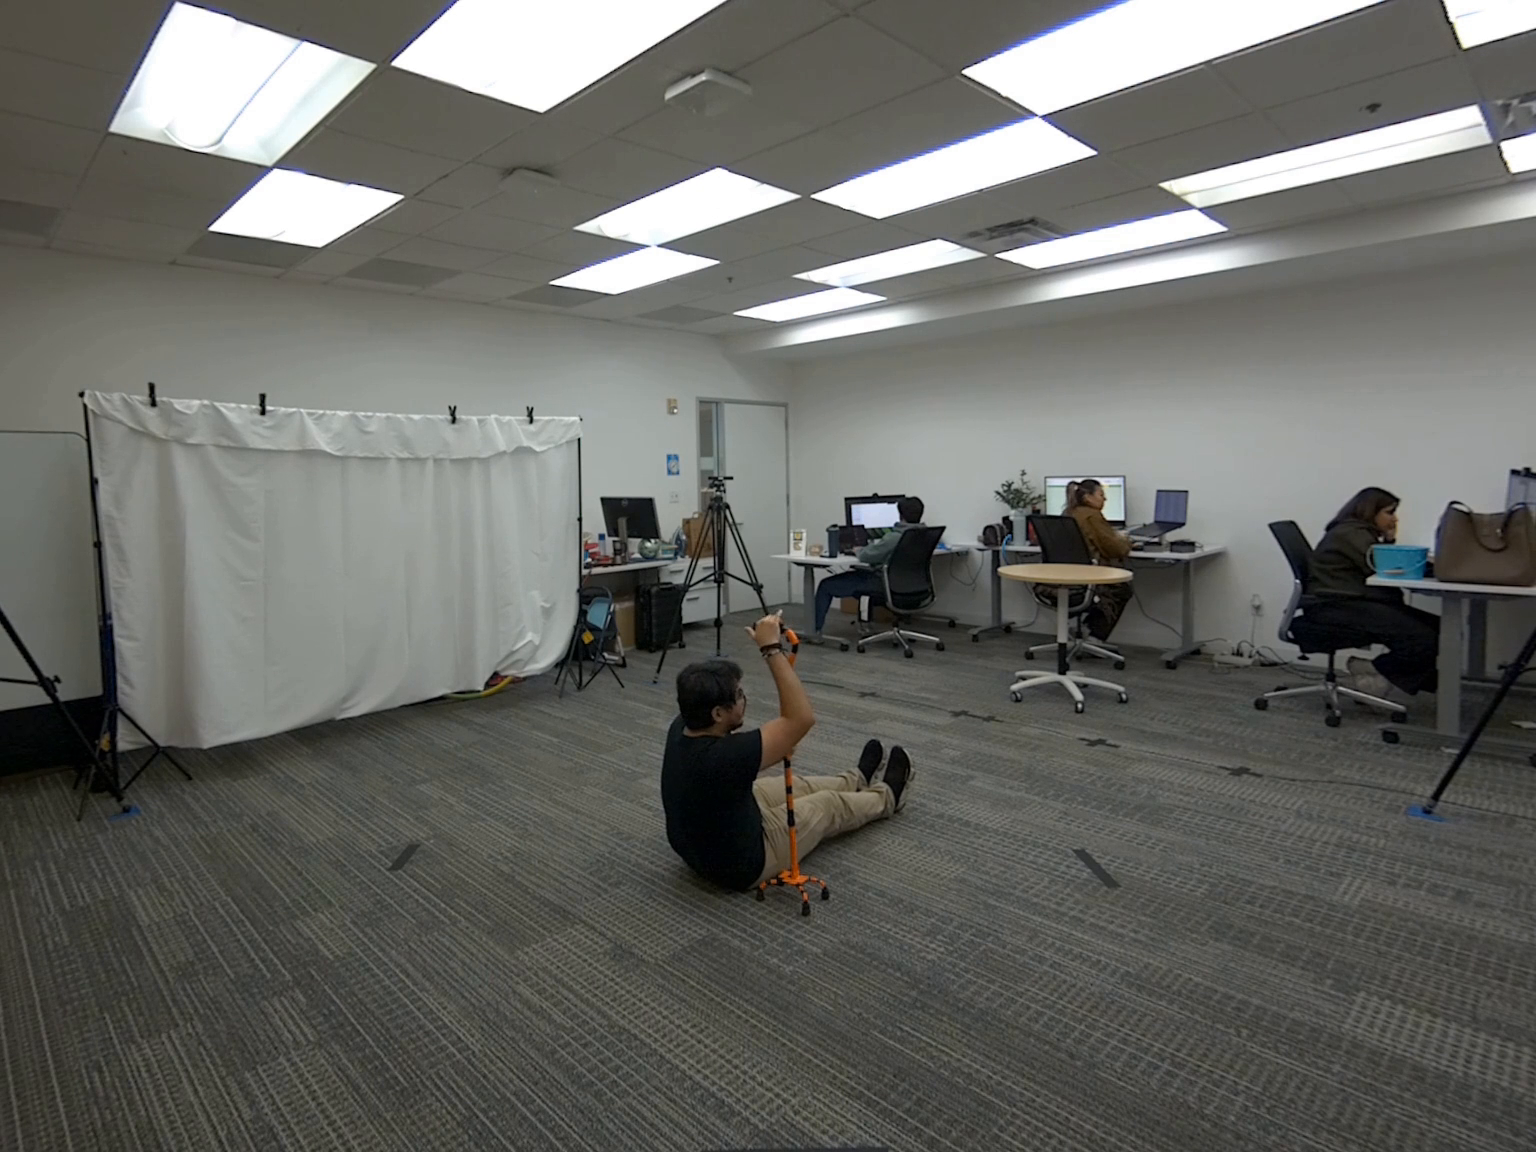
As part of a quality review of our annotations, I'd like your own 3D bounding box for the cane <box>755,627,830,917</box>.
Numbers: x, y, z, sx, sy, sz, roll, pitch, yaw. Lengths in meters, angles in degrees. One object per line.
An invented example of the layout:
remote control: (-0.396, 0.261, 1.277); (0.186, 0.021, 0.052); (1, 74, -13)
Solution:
cane: (0.062, 0.615, 2.800); (0.212, 0.906, 0.148); (-1, 3, 33)
